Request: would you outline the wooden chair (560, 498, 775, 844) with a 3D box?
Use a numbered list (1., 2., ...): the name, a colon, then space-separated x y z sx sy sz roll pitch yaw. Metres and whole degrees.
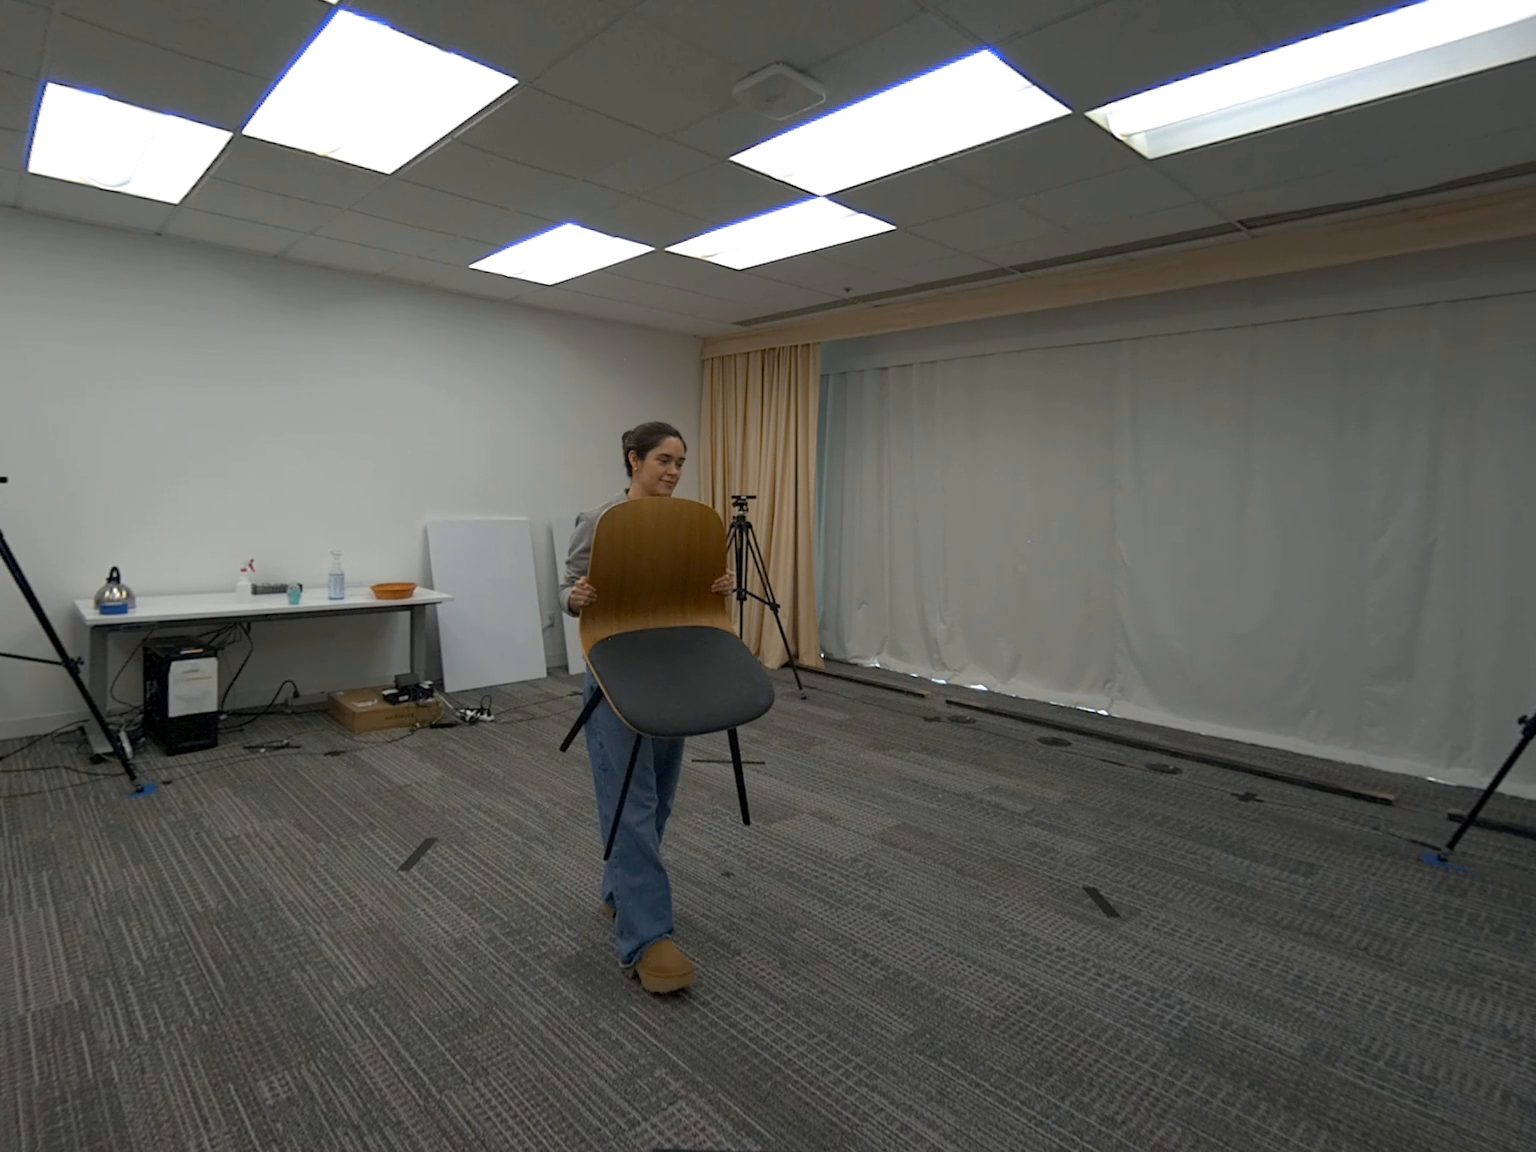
1. wooden chair: -0.270 0.283 2.358 0.469 0.866 0.540 -3 26 -30
